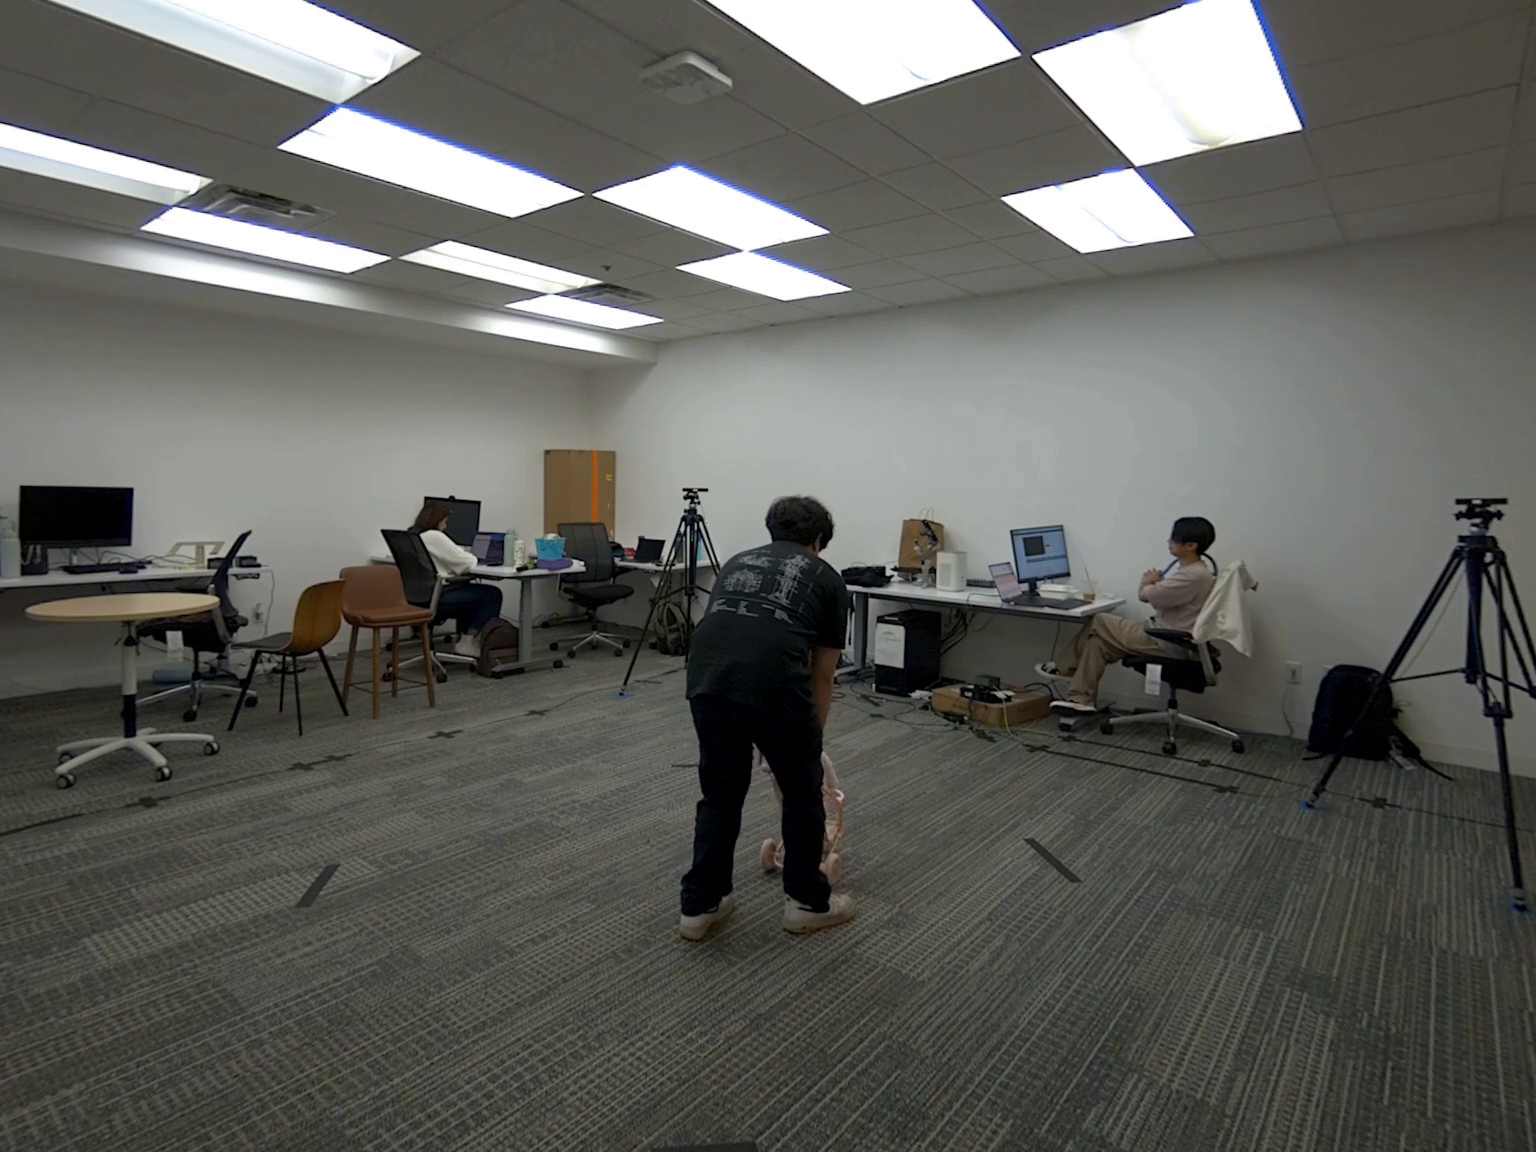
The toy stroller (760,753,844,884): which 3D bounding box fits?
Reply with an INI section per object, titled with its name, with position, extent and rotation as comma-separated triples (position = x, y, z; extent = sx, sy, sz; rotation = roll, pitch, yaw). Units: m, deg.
[toy stroller]
position = 0.138, 0.849, 3.108
extent = 0.290, 0.526, 0.337
rotation = 4, 19, 31
